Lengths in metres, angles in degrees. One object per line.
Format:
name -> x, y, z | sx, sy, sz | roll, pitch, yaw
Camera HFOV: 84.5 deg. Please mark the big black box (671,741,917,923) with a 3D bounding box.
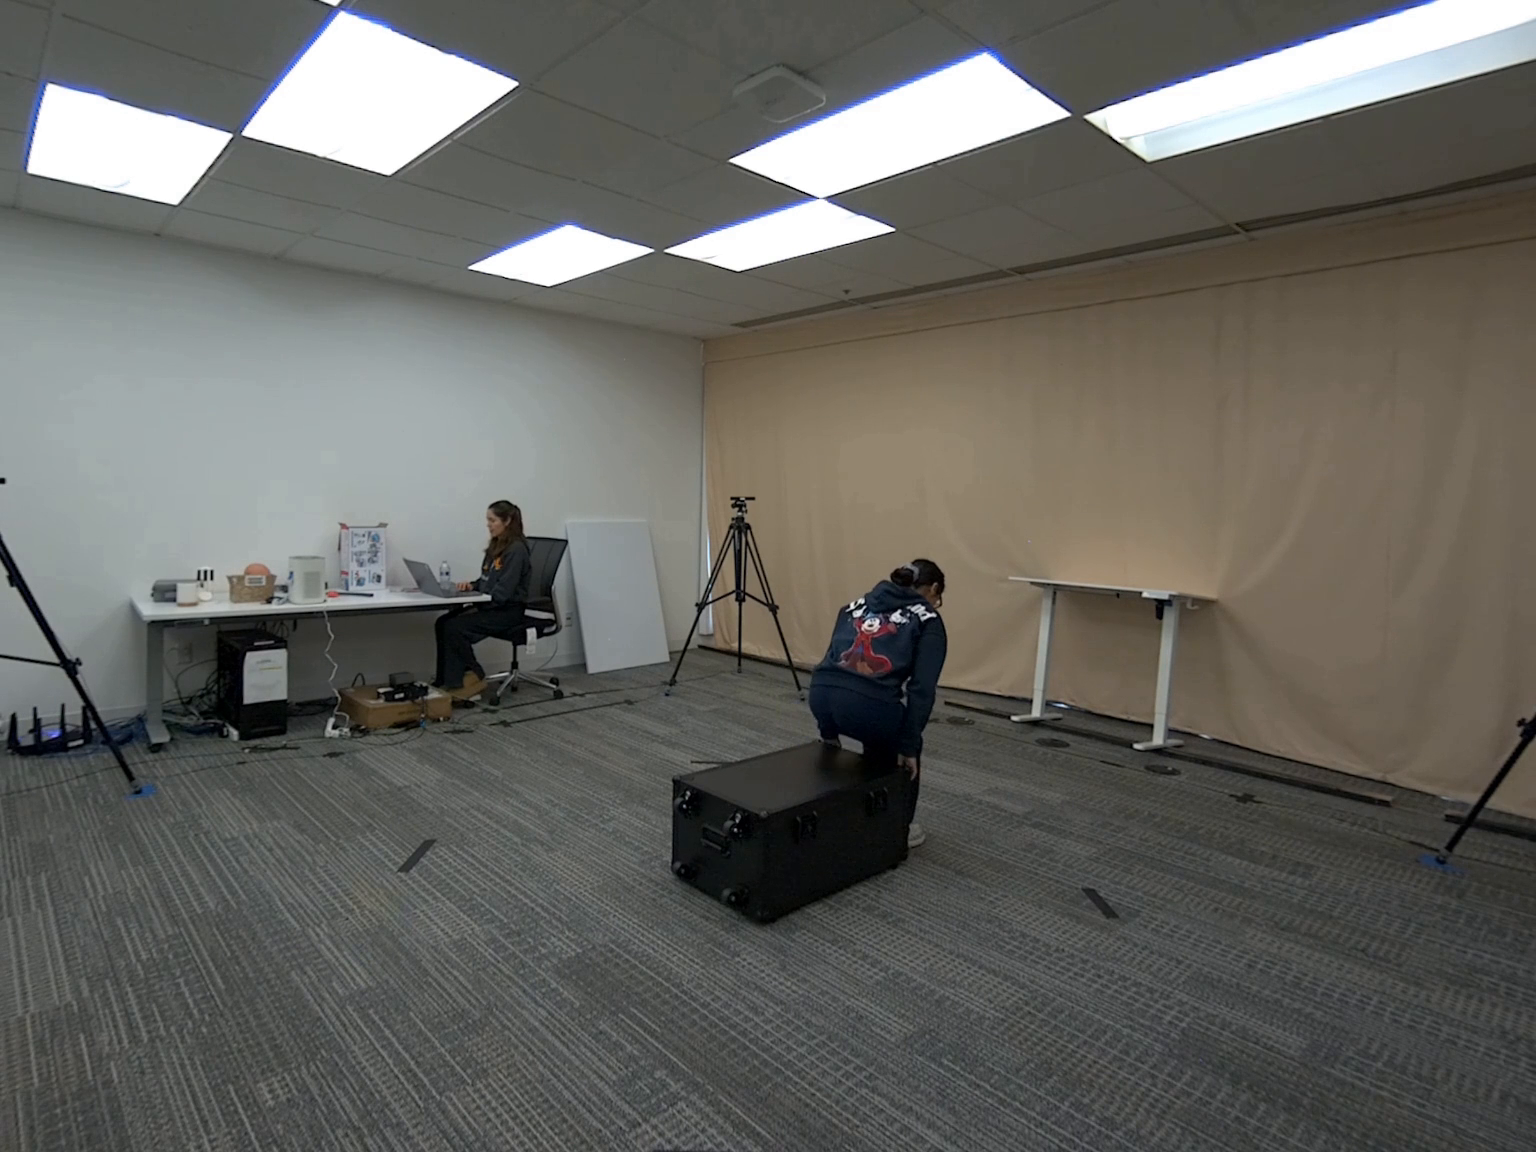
big black box -> 0.063, 0.918, 3.124 | 0.841, 0.395, 0.534 | -2, 5, -44
